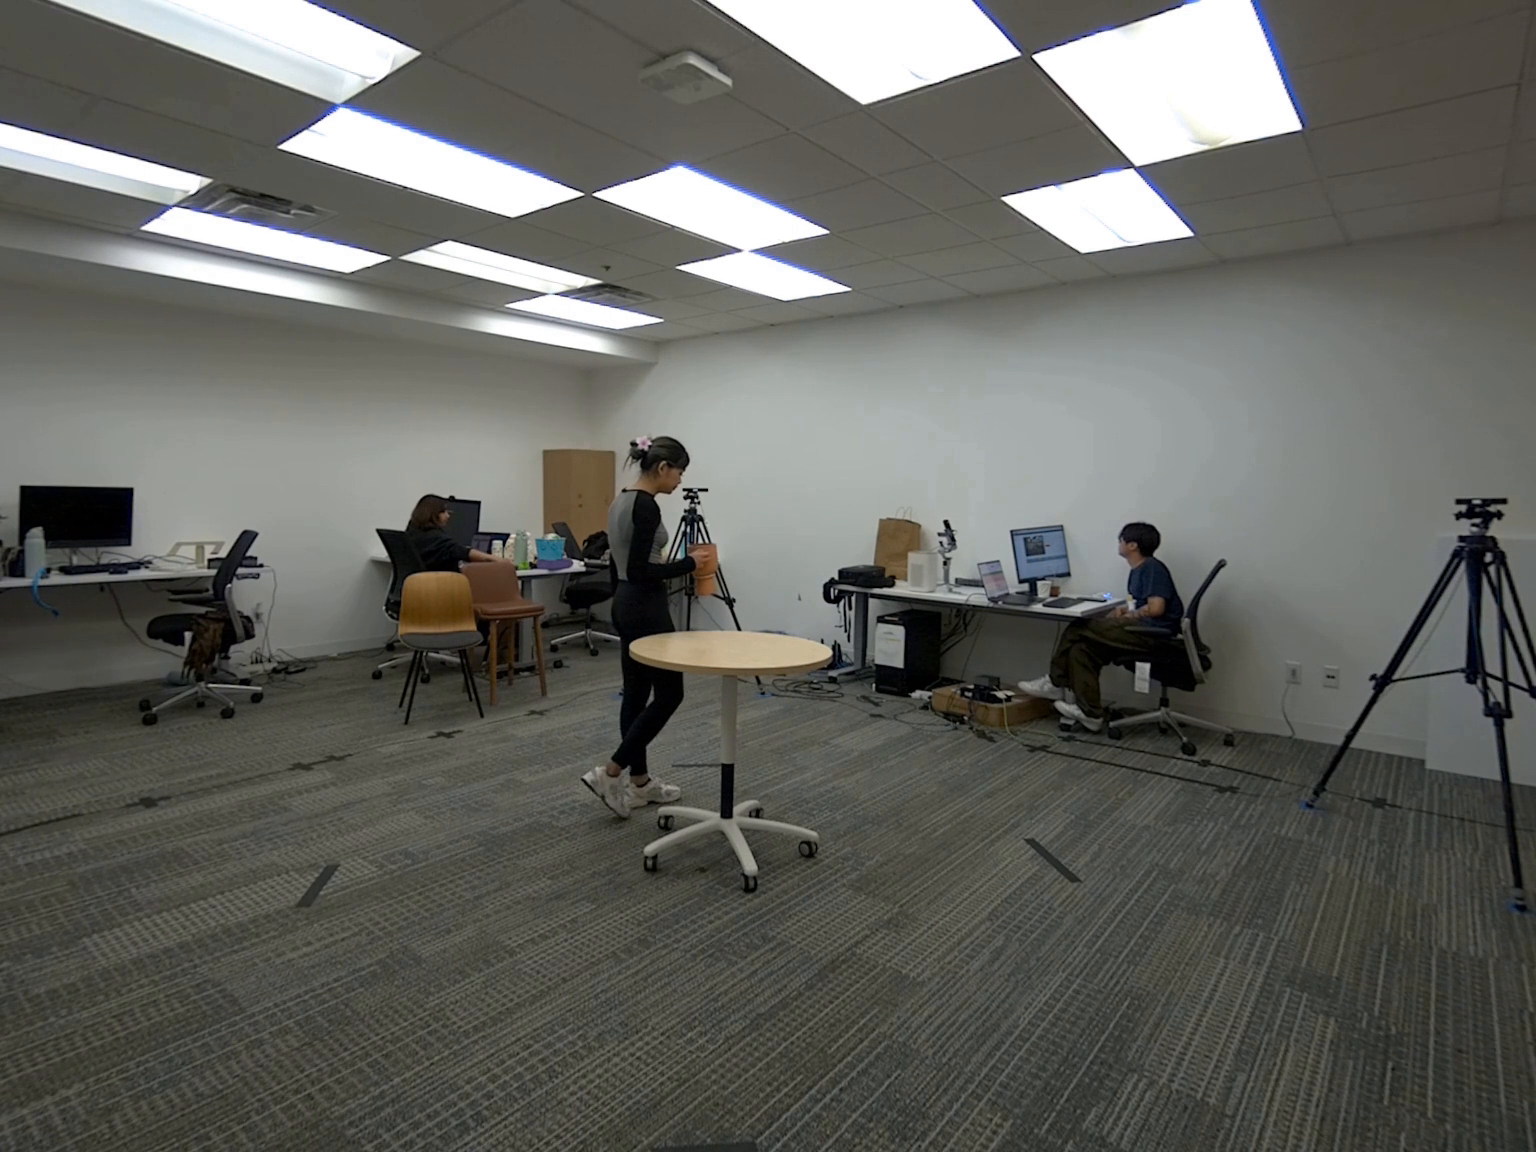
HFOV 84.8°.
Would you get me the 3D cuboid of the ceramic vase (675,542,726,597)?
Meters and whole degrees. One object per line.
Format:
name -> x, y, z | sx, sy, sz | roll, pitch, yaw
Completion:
ceramic vase -> -0.303, -0.031, 3.744 | 0.138, 0.219, 0.155 | -2, 5, 35
